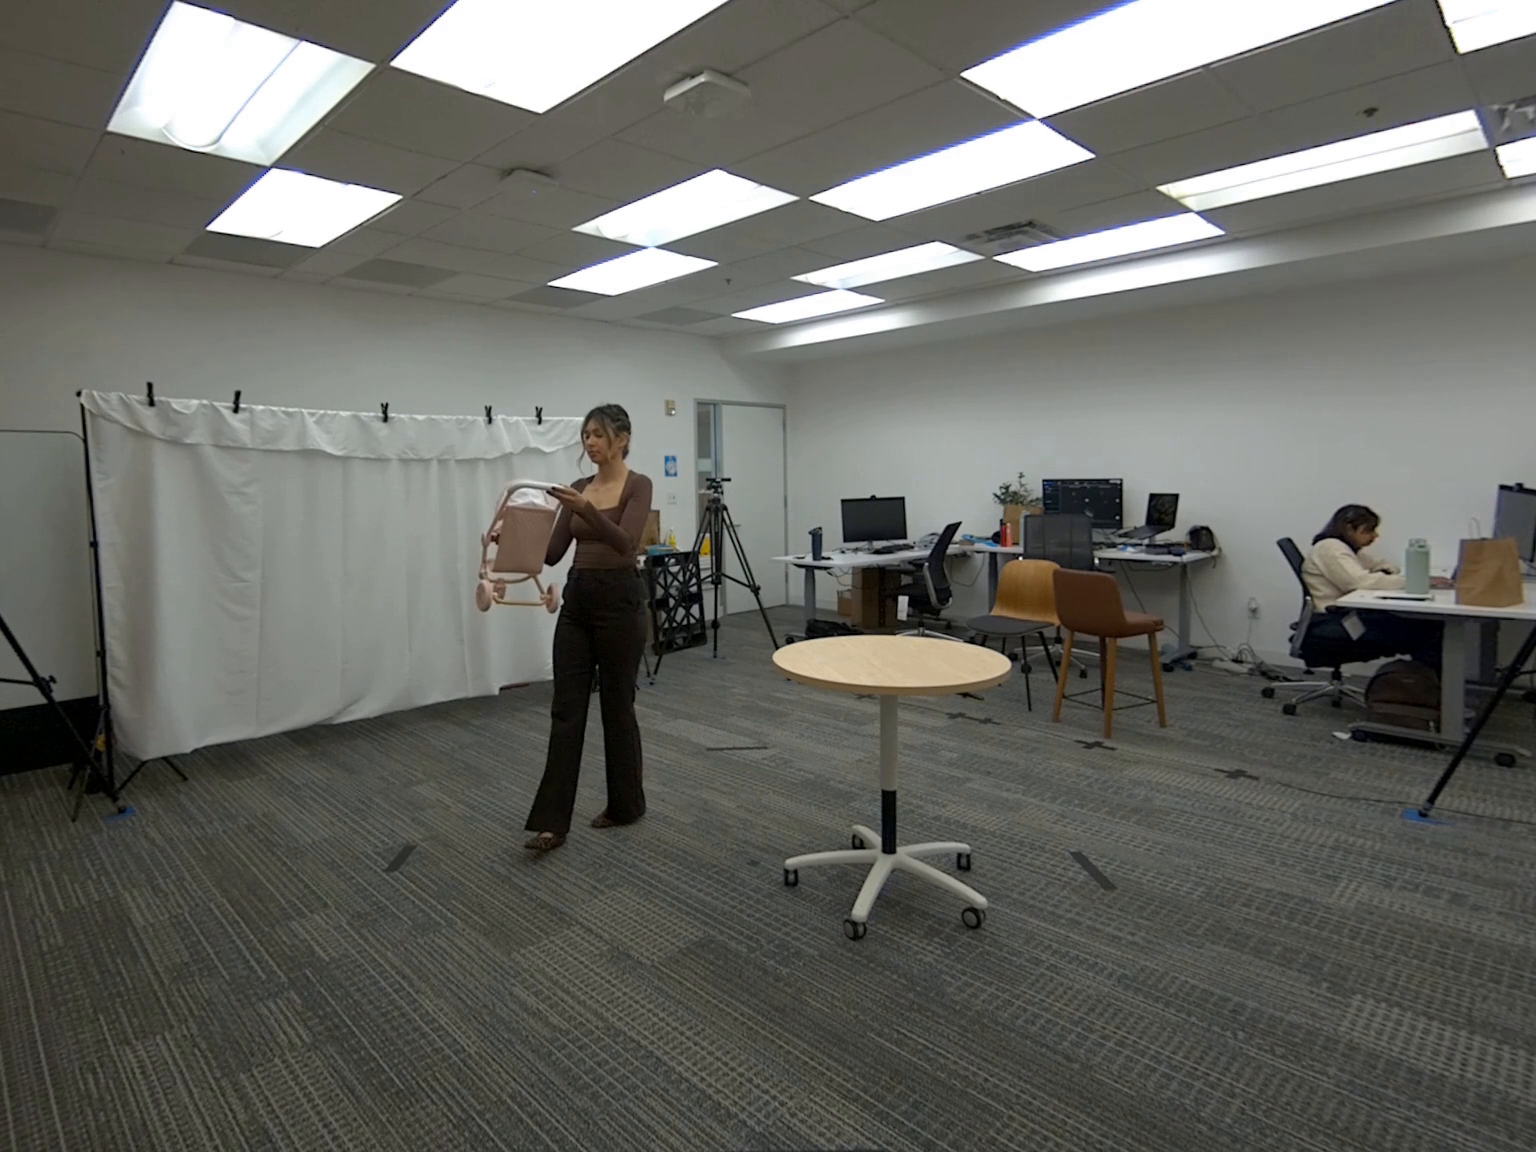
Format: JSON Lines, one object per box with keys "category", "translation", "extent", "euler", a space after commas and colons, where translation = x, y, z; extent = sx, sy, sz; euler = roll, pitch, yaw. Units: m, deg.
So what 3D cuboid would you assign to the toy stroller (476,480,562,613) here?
{"category": "toy stroller", "translation": [-0.893, -0.106, 3.051], "extent": [0.274, 0.530, 0.353], "euler": [4, 15, -29]}
